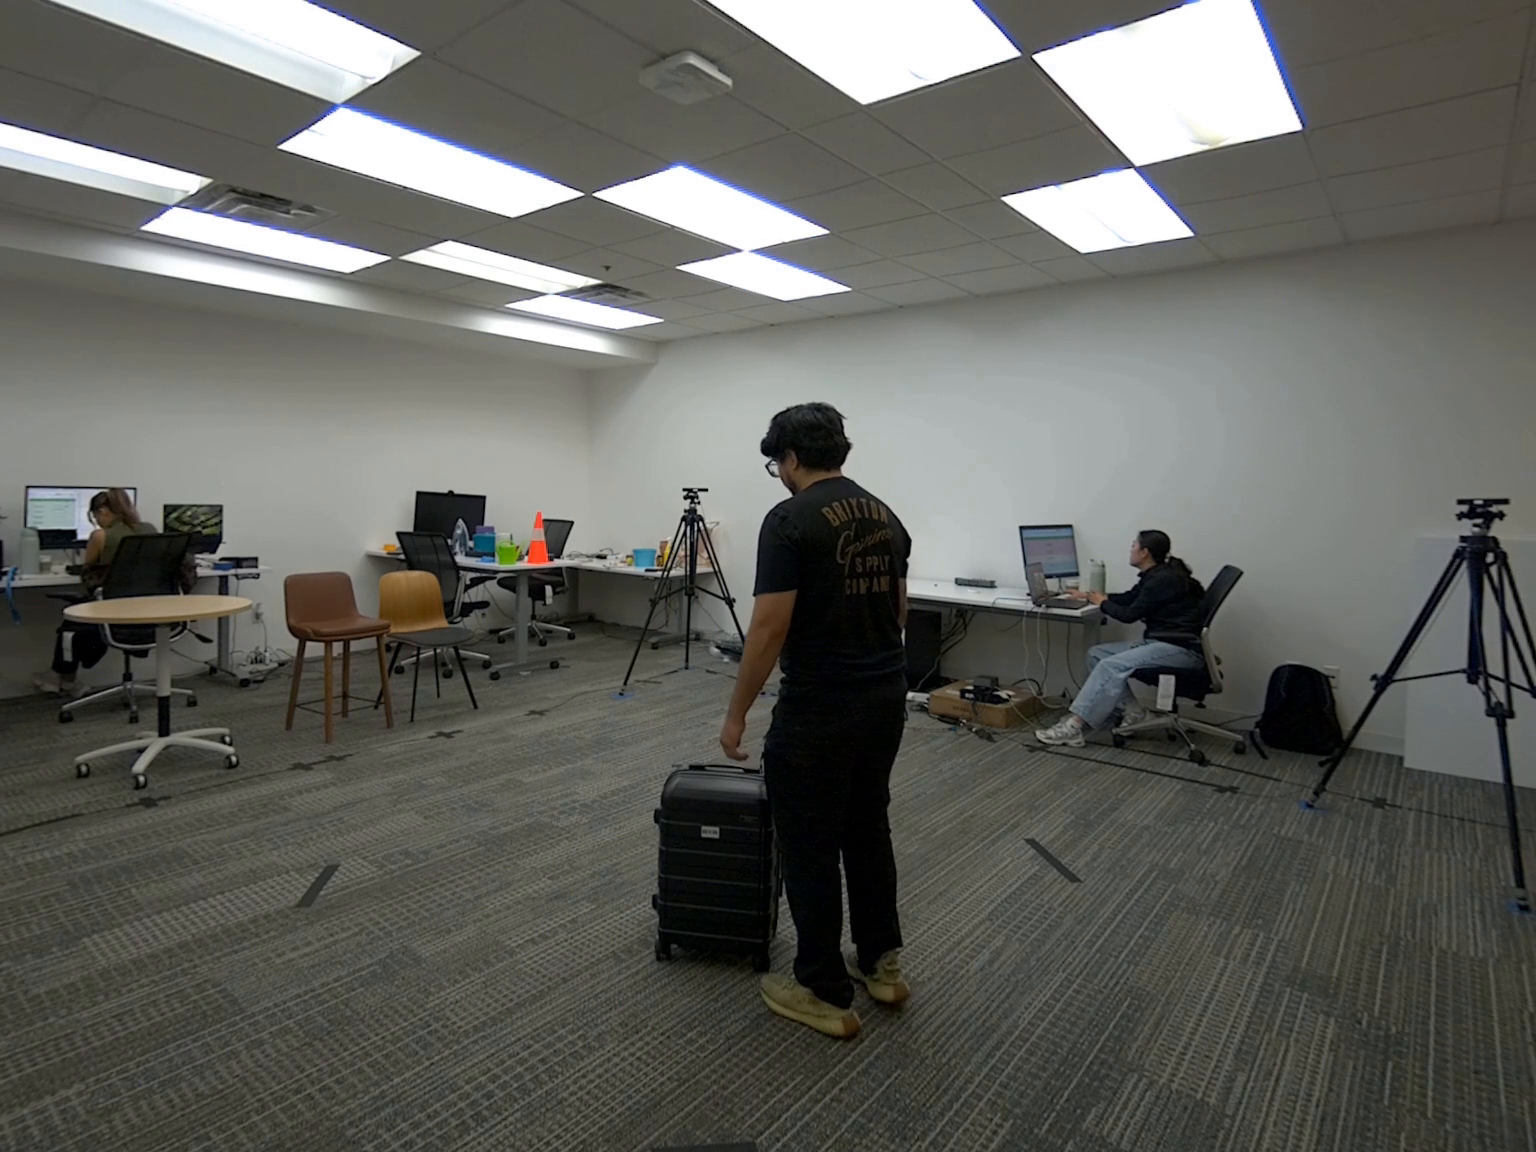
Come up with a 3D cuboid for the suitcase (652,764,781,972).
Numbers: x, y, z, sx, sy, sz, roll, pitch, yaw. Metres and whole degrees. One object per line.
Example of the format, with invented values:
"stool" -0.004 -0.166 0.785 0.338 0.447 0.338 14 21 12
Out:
"suitcase" -0.149 0.850 2.557 0.379 0.547 0.247 2 4 8
